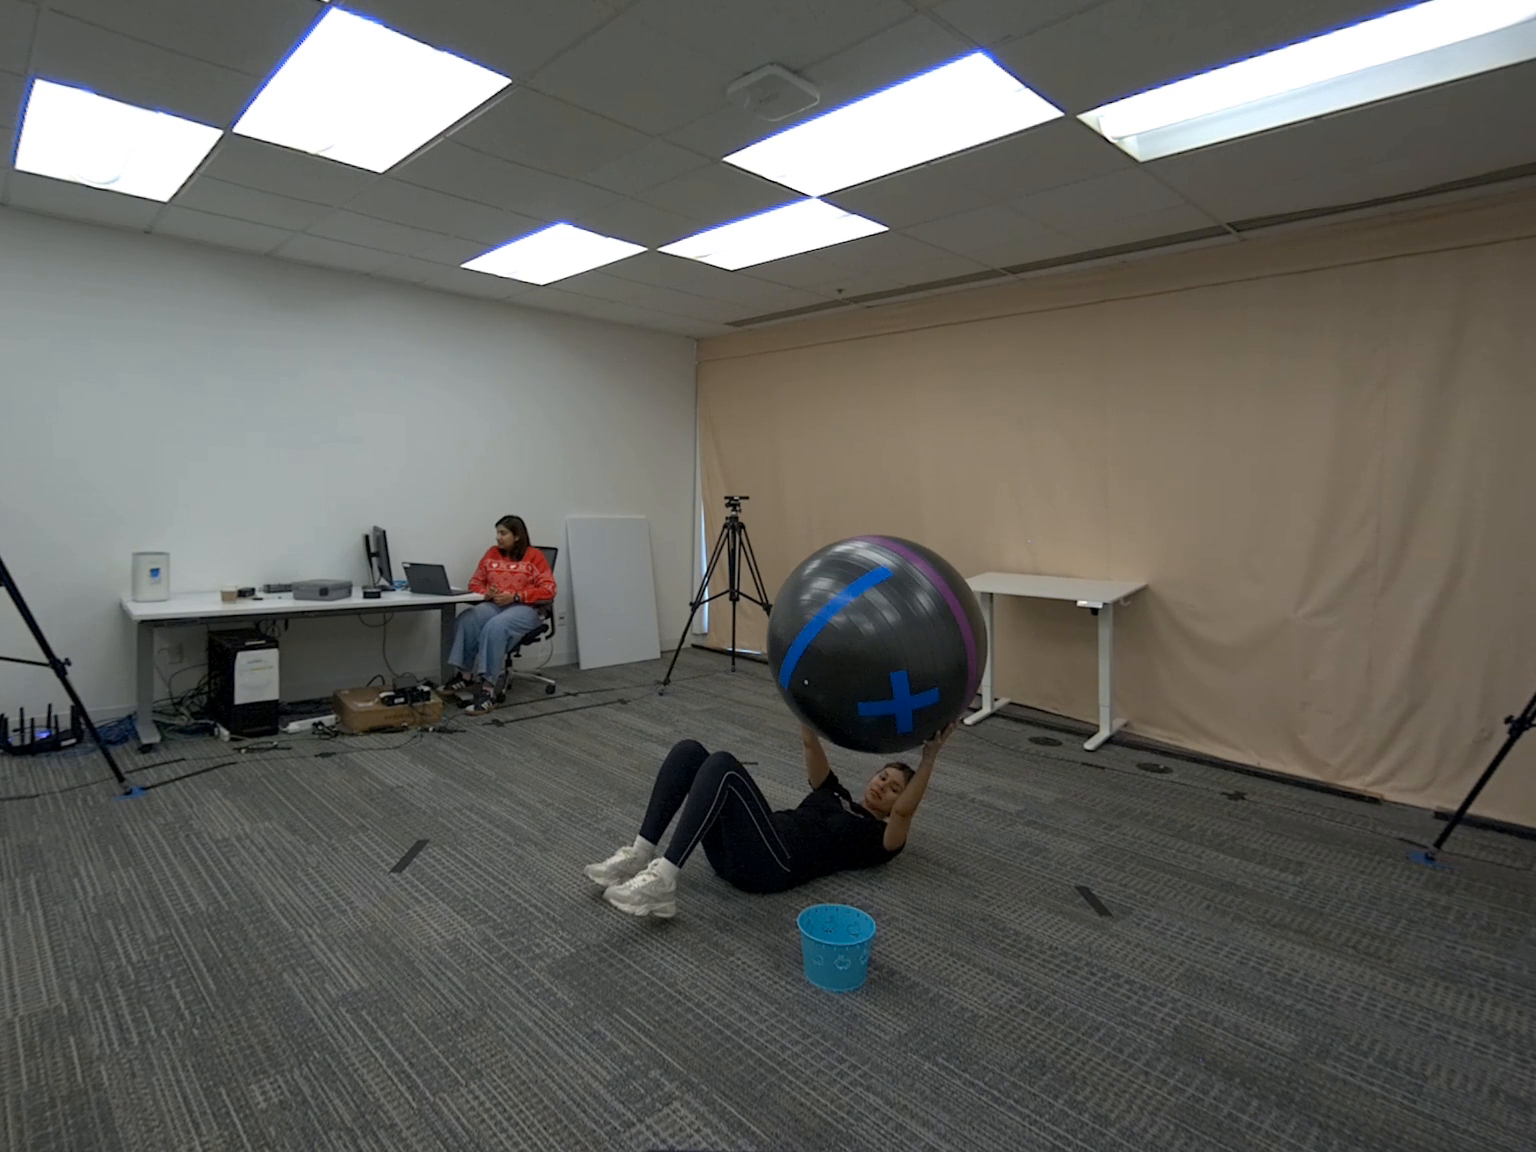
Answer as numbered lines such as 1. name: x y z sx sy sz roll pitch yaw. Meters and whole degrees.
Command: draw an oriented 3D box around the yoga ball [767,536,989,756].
1. yoga ball: 0.378 0.246 2.947 0.757 0.754 0.762 0 7 -1
